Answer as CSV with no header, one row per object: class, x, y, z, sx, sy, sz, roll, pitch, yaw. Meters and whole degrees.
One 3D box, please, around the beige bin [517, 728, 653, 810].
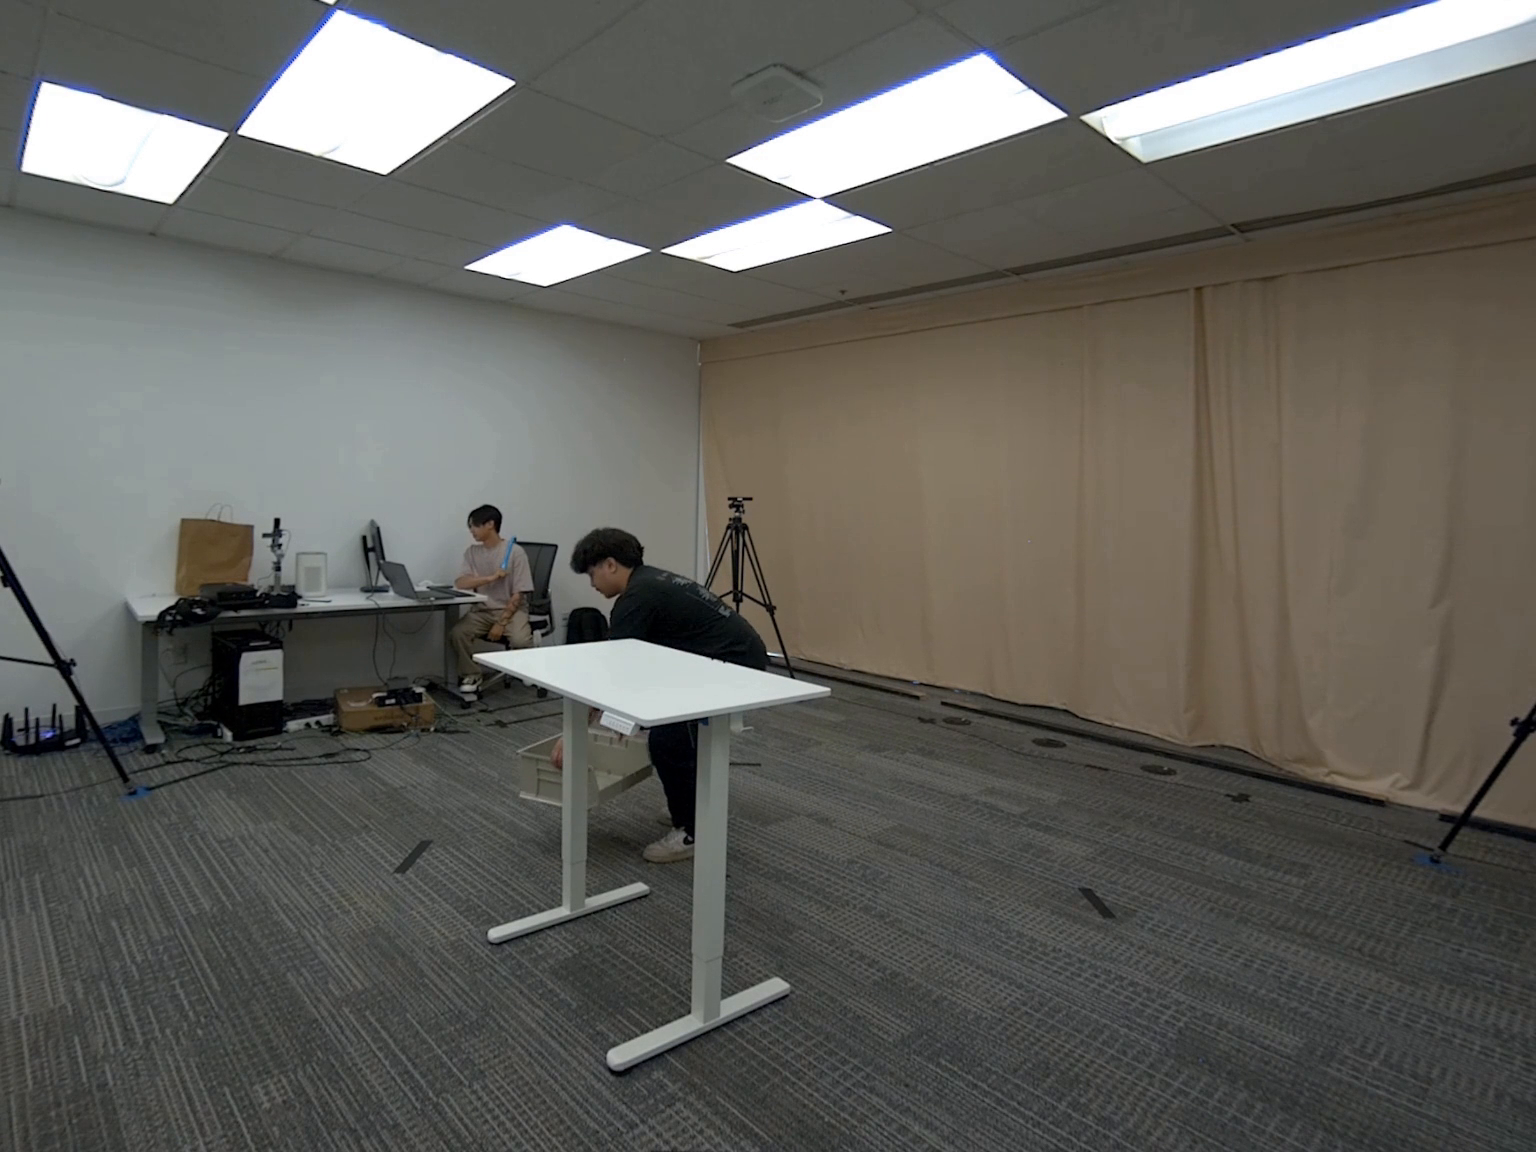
beige bin,-0.727,0.770,3.361,0.384,0.188,0.416,3,5,22
